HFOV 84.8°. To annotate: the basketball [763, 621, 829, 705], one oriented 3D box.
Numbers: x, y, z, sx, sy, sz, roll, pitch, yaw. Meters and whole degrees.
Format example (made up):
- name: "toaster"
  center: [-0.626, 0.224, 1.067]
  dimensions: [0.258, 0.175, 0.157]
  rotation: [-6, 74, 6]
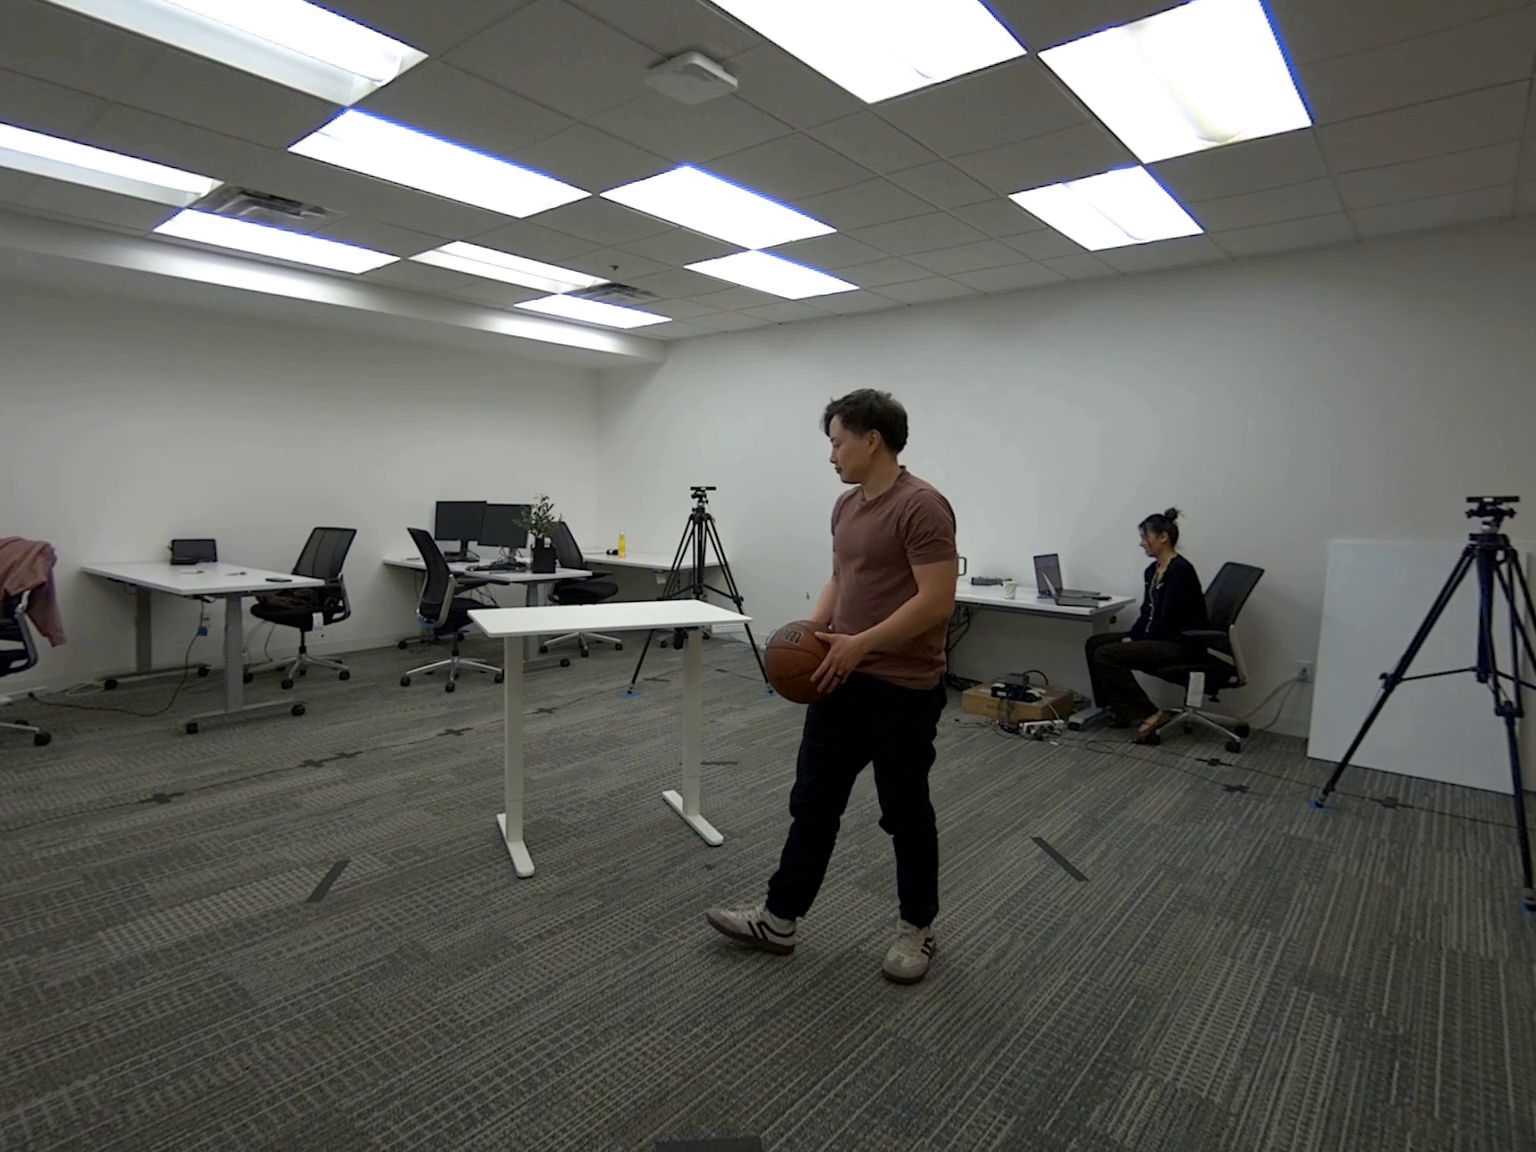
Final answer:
- name: "basketball"
  center: [0.097, 0.240, 2.426]
  dimensions: [0.235, 0.235, 0.237]
  rotation: [1, 4, -2]
